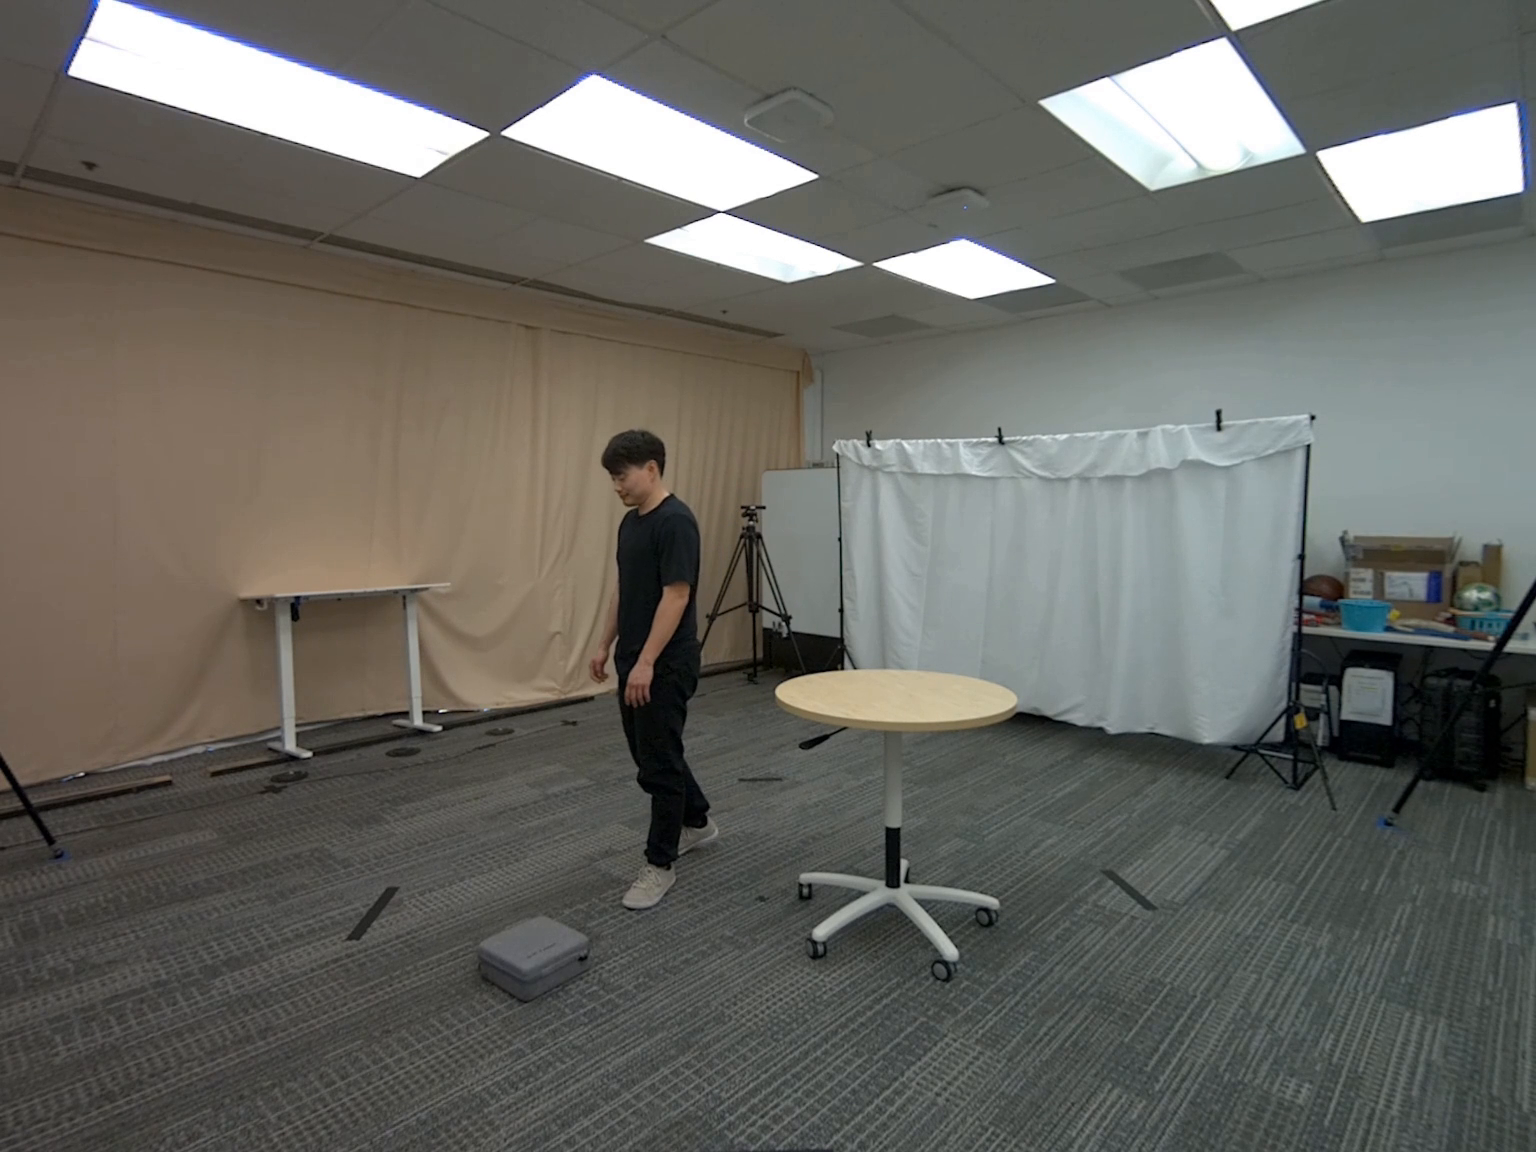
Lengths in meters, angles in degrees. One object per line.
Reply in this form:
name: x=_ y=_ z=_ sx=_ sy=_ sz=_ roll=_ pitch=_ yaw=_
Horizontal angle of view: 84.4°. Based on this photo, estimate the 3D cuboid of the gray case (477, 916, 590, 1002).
gray case: x=-0.704 y=1.133 z=2.512 sx=0.269 sy=0.104 sz=0.249 roll=2 pitch=6 yaw=39
